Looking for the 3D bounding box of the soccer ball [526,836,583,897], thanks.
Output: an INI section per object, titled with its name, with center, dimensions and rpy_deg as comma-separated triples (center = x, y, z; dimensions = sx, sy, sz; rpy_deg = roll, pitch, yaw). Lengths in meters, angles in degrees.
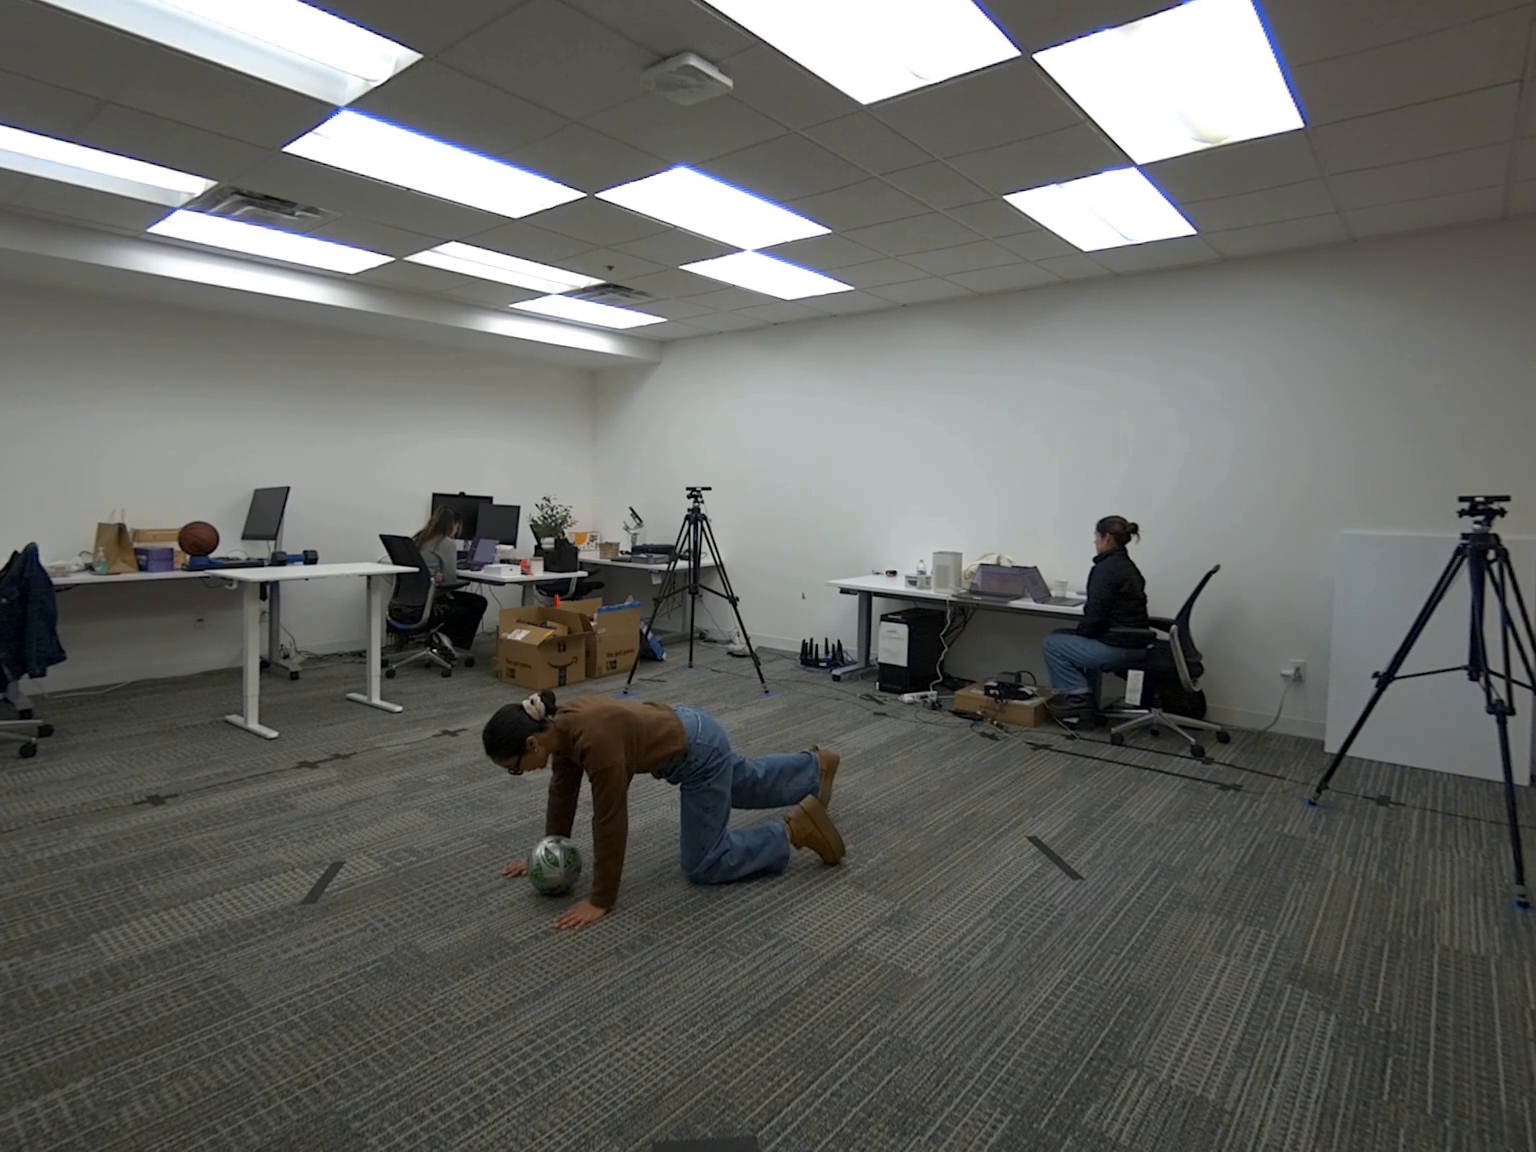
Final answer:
[soccer ball]
center = -0.745, 0.991, 2.908
dimensions = 0.187, 0.187, 0.188
rpy_deg = 1, 4, -2
